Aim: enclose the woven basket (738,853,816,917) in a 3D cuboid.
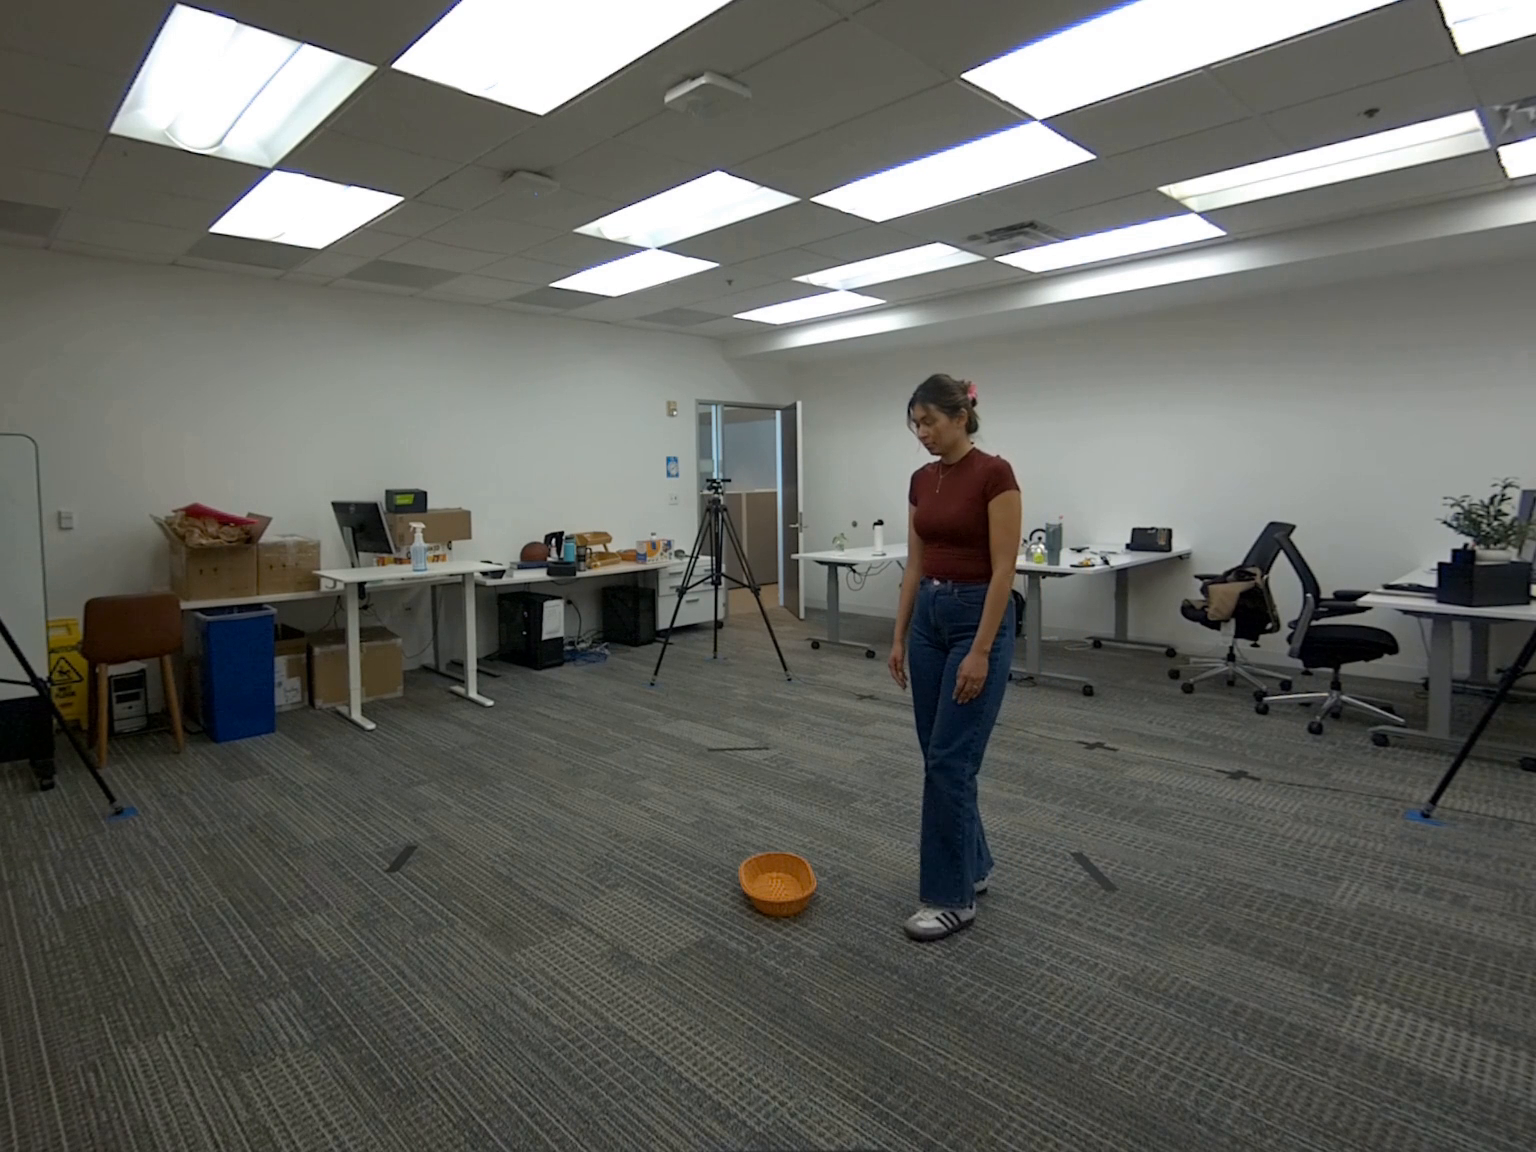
[{"bbox_3d":[0.036,1.034,2.862,0.252,0.073,0.353,-3,6,-3],"label":"woven basket"}]
